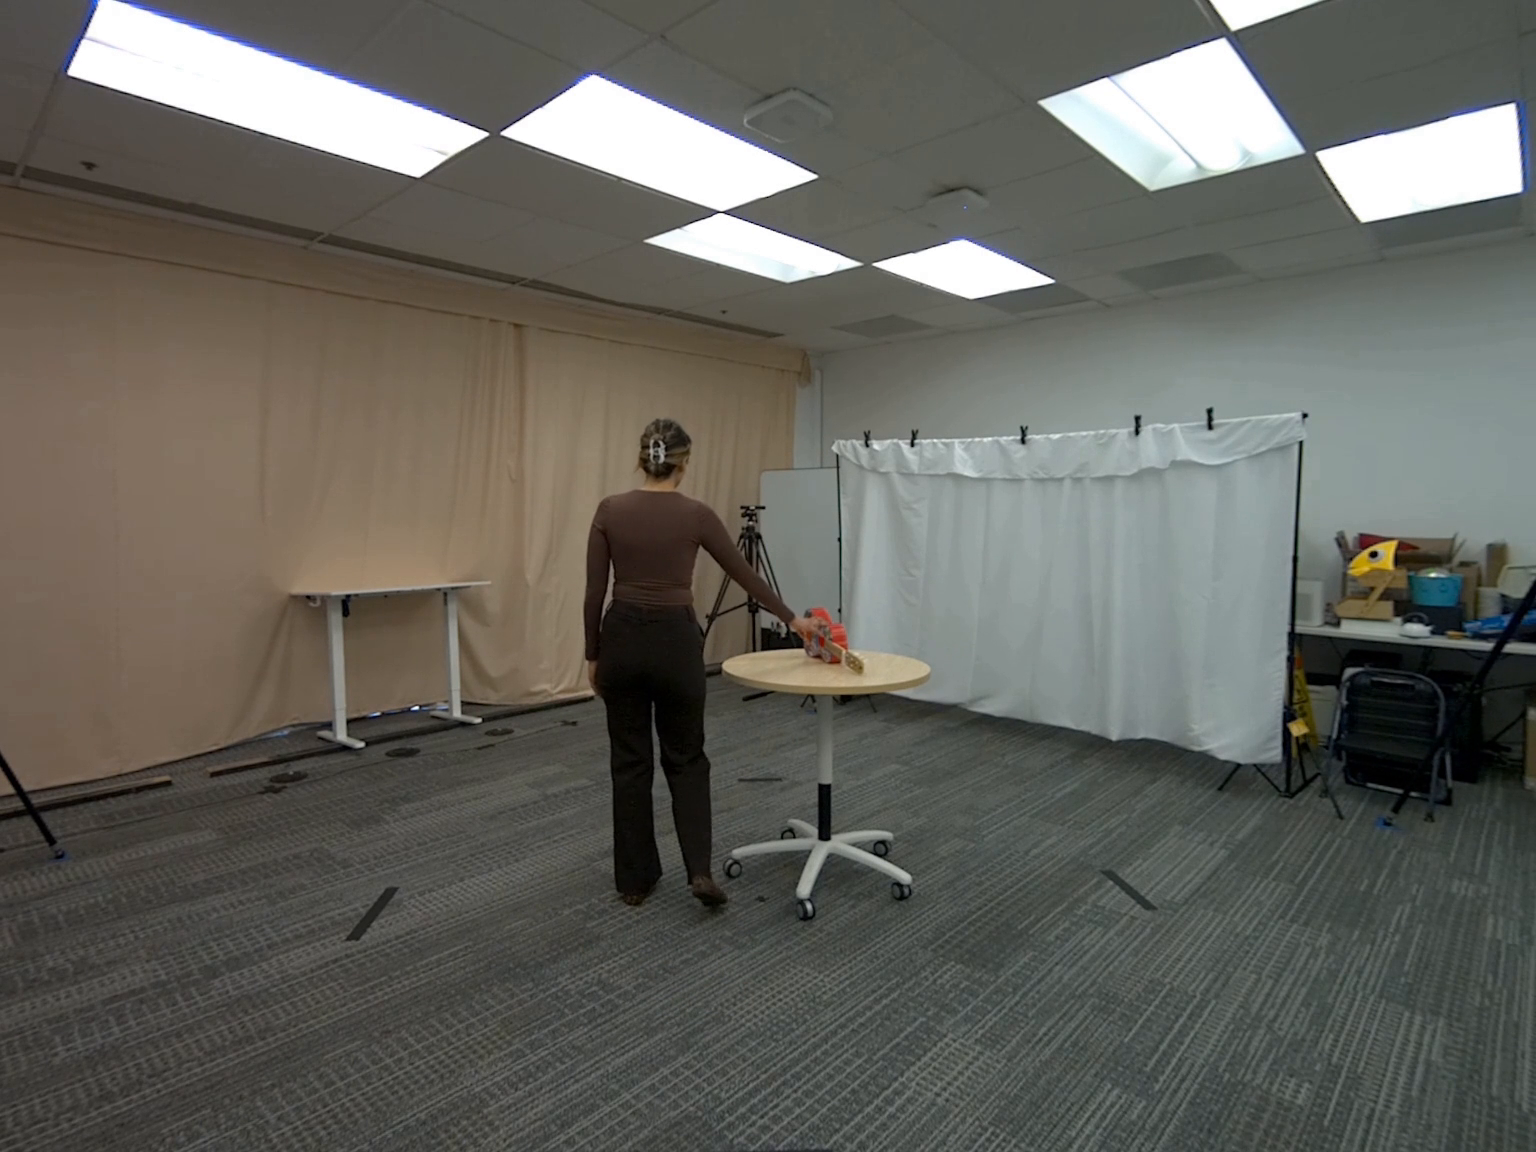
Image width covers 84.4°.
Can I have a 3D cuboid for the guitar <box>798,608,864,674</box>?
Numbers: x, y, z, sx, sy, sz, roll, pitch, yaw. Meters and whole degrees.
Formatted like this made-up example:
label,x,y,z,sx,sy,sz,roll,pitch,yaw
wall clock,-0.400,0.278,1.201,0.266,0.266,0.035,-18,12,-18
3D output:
label,x,y,z,sx,sy,sz,roll,pitch,yaw
guitar,0.252,0.288,3.154,0.069,0.191,0.512,-3,21,-18
